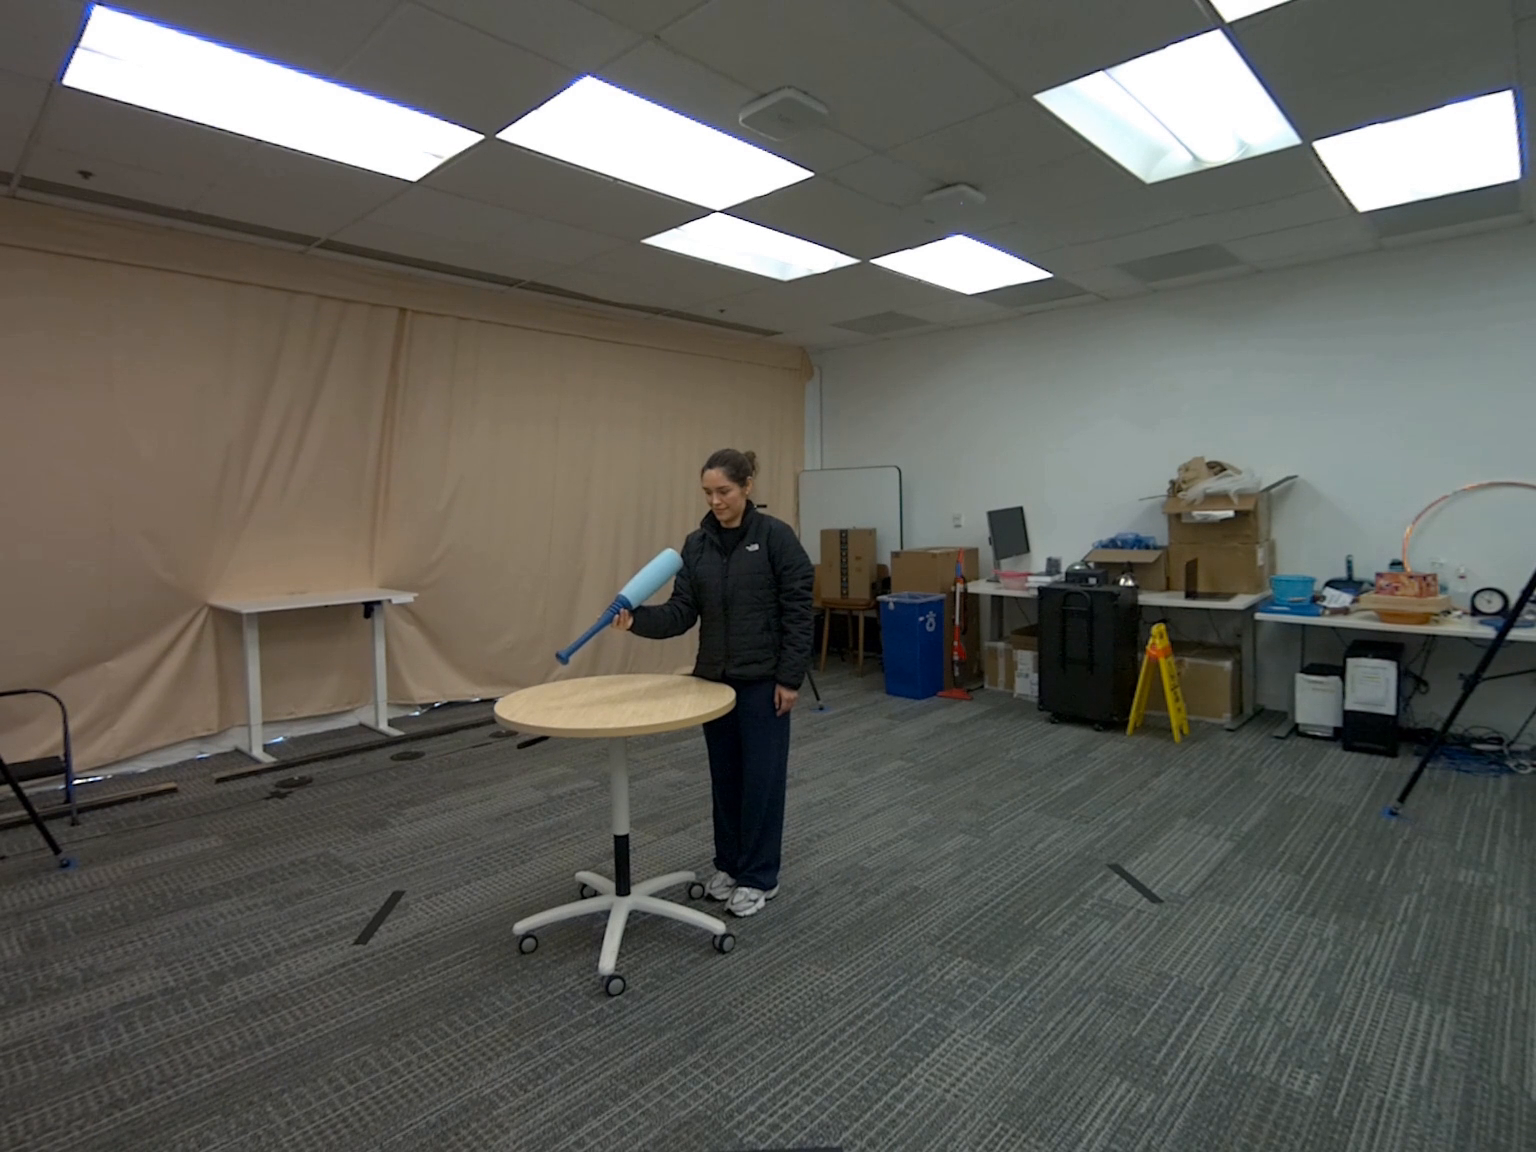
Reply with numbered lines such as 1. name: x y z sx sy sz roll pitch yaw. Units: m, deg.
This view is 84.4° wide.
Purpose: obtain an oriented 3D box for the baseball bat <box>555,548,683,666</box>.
1. baseball bat: -0.466 0.100 2.747 0.092 0.087 0.539 4 42 51
